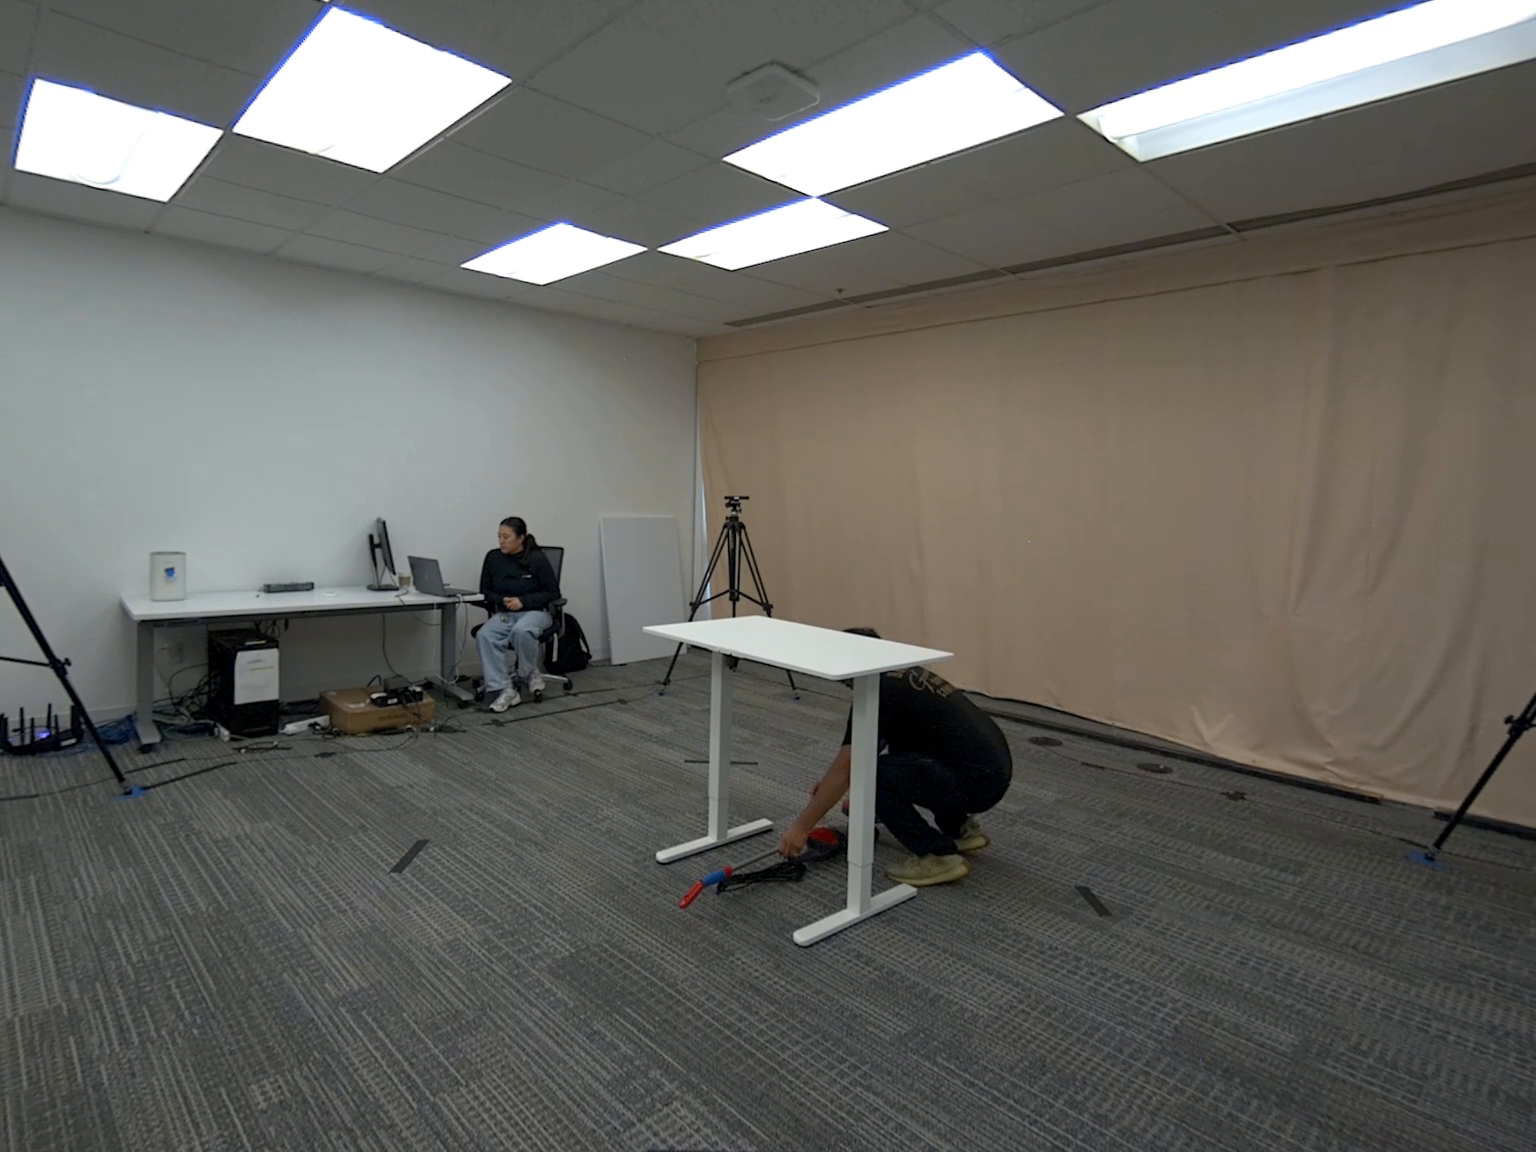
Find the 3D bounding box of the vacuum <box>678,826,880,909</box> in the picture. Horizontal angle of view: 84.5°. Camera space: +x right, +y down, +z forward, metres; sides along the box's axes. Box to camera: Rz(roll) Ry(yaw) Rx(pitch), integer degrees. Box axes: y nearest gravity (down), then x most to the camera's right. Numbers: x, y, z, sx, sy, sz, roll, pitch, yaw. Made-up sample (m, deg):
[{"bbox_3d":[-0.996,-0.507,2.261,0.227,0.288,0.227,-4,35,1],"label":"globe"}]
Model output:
[{"bbox_3d":[0.061,1.046,3.116,0.259,0.143,1.027,7,10,43],"label":"vacuum"}]
